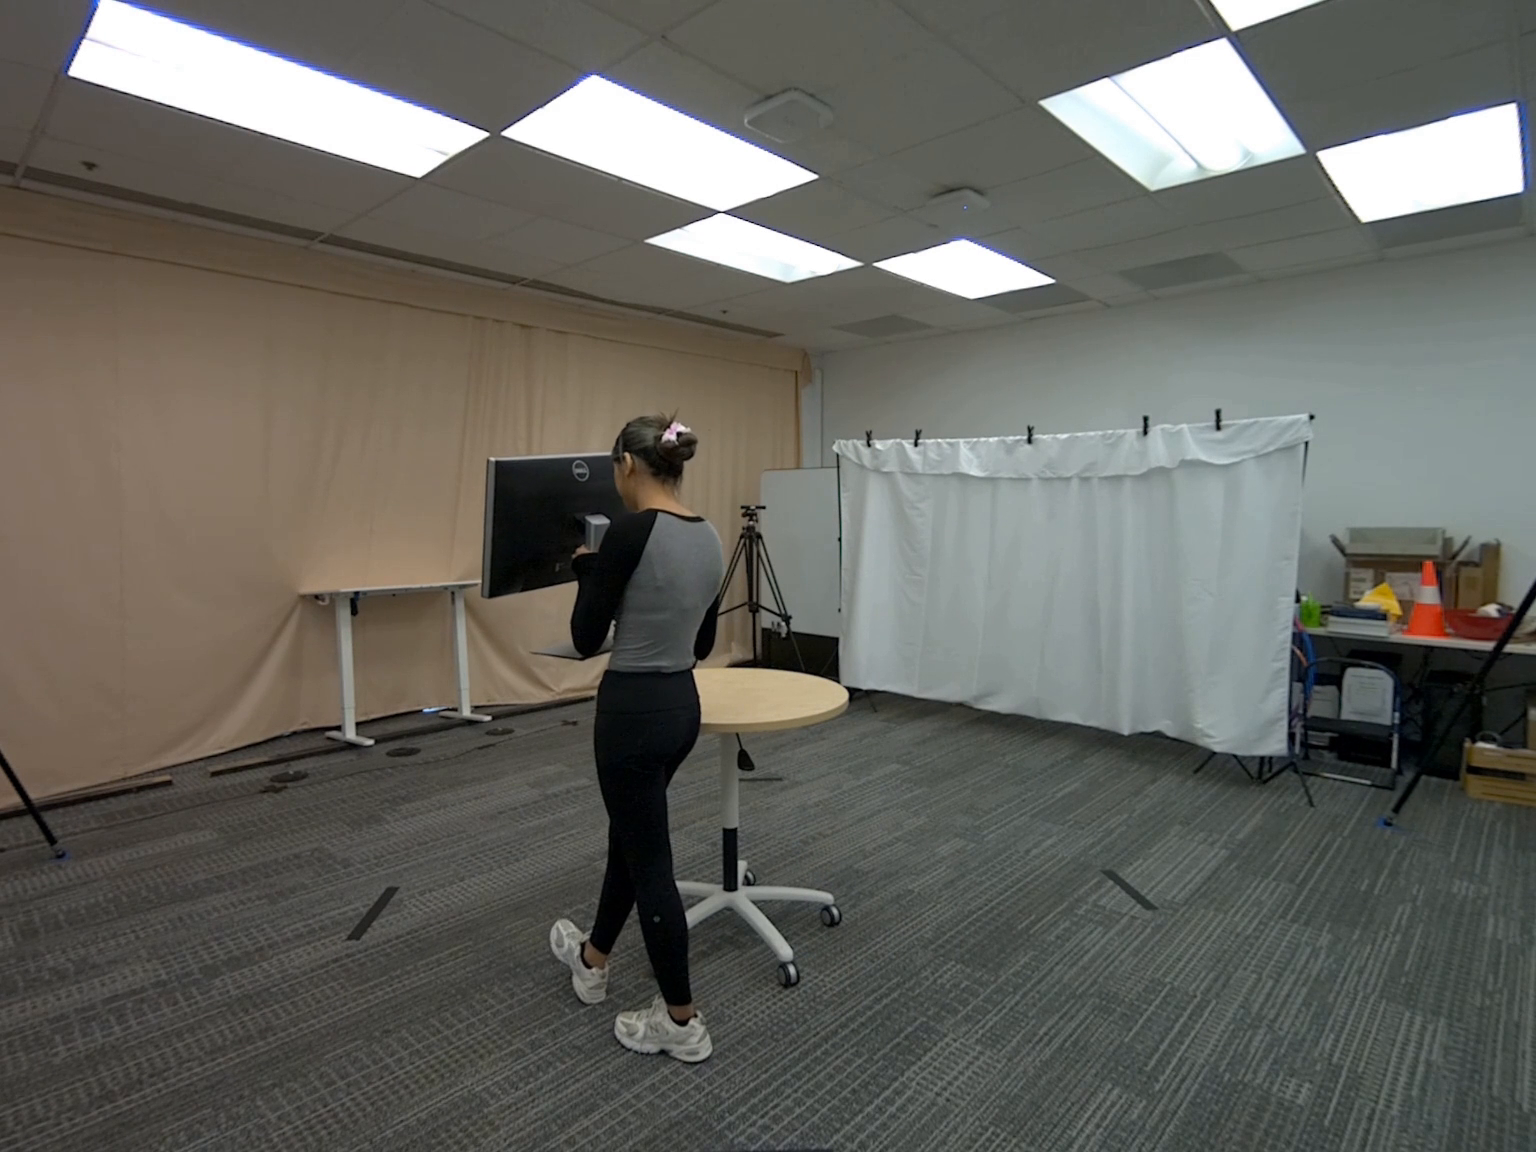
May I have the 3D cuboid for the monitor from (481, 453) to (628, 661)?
[{"bbox_3d":[-0.519,-0.068,2.309,0.193,0.520,0.525,1,8,32],"label":"monitor"}]
